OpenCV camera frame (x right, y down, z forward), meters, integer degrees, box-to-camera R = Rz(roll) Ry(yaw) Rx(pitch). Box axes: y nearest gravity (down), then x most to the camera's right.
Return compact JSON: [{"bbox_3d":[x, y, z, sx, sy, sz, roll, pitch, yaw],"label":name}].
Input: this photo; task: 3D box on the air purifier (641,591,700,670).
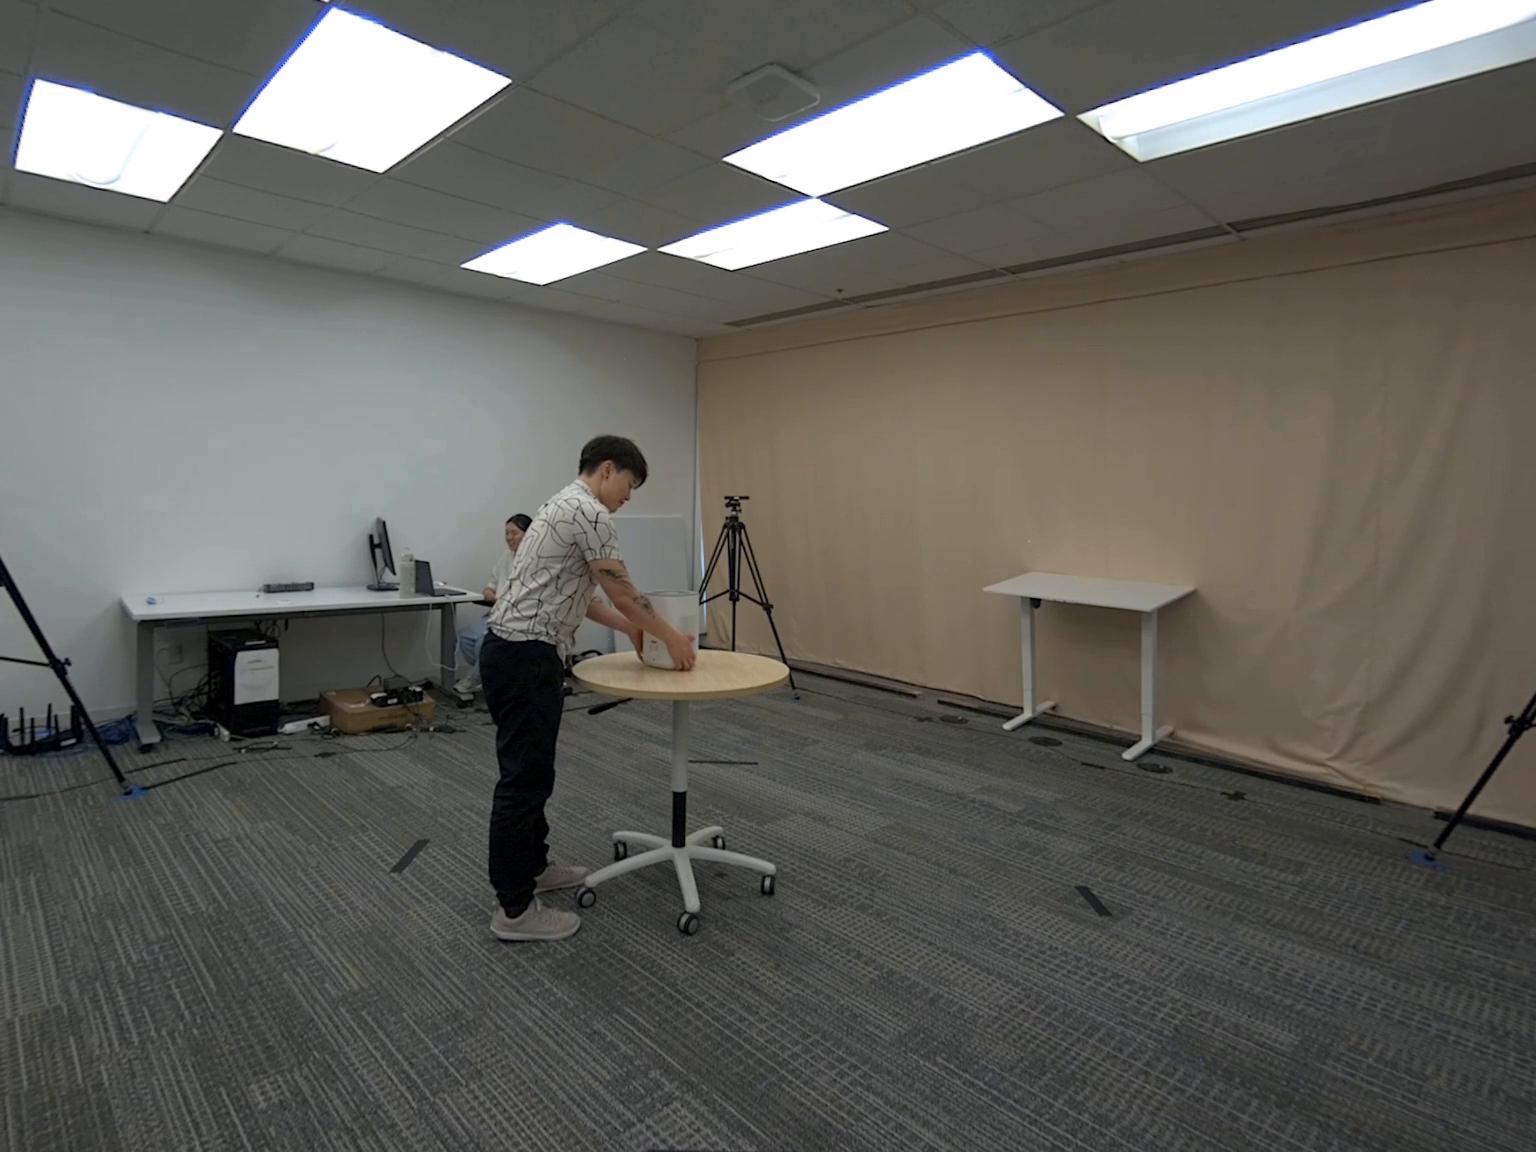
[{"bbox_3d":[-0.359,0.190,3.020,0.175,0.265,0.168,4,4,37],"label":"air purifier"}]
